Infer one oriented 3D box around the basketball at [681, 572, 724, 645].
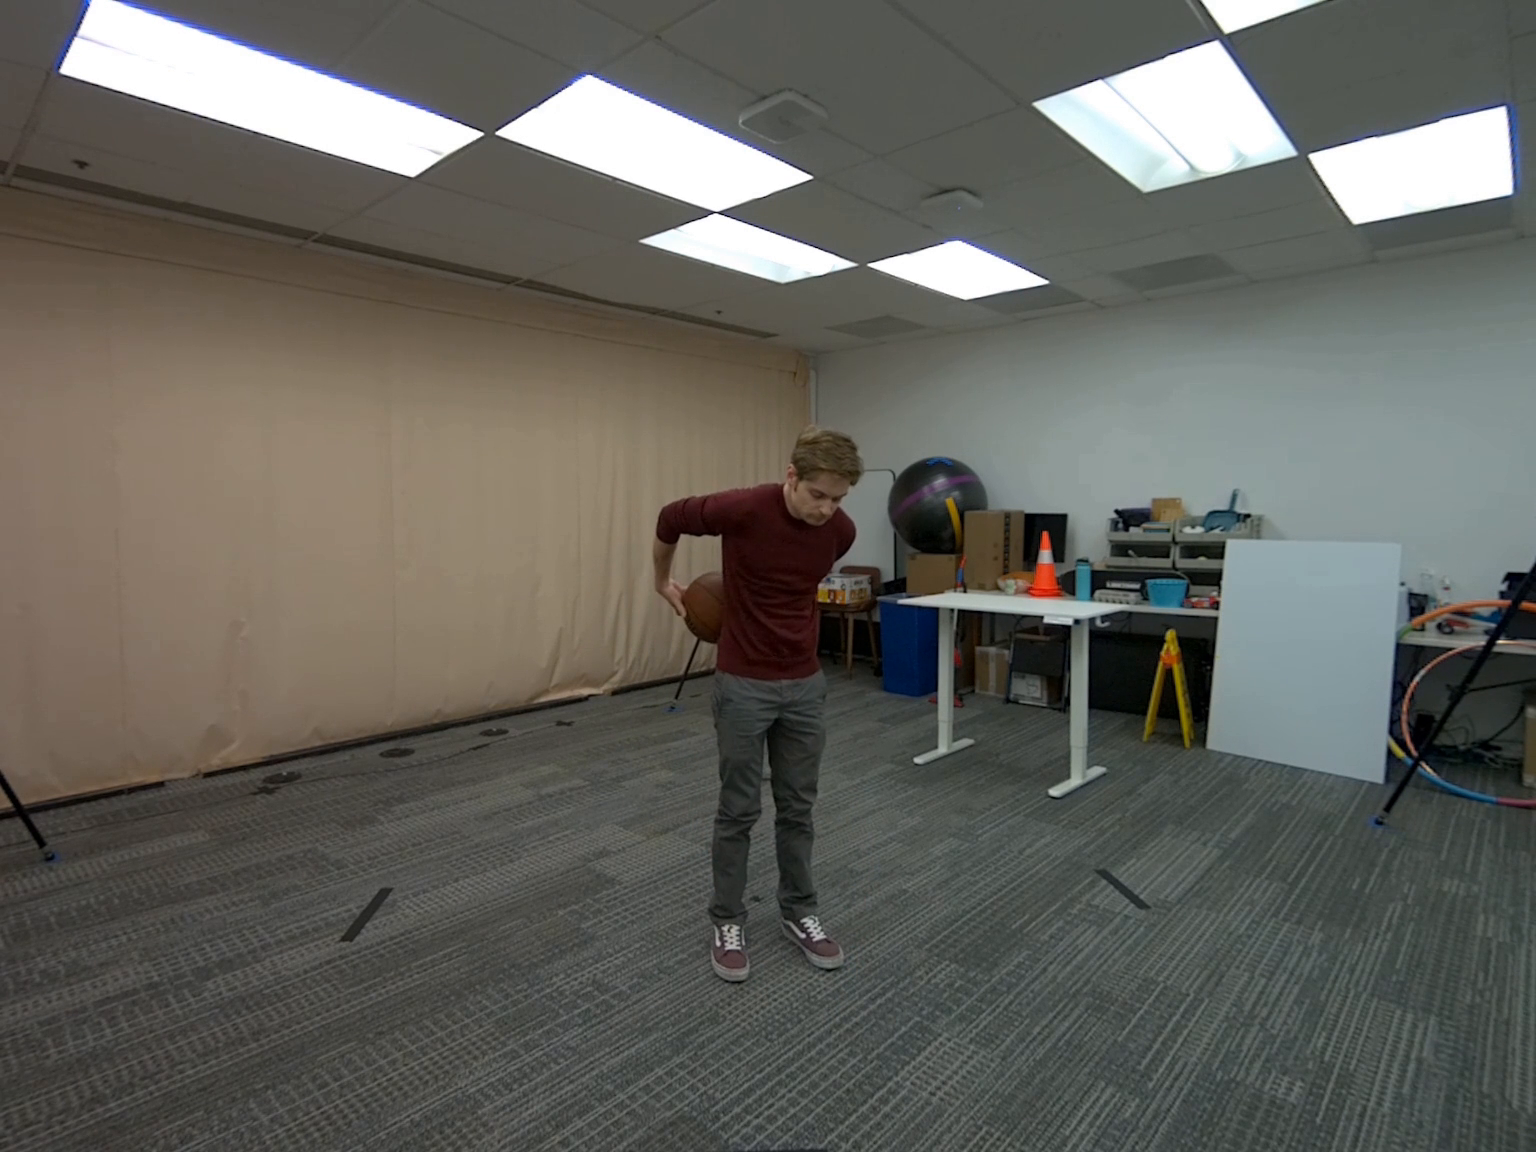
[{"bbox_3d":[-0.160,0.102,2.761,0.236,0.235,0.237,0,4,-2],"label":"basketball"}]
